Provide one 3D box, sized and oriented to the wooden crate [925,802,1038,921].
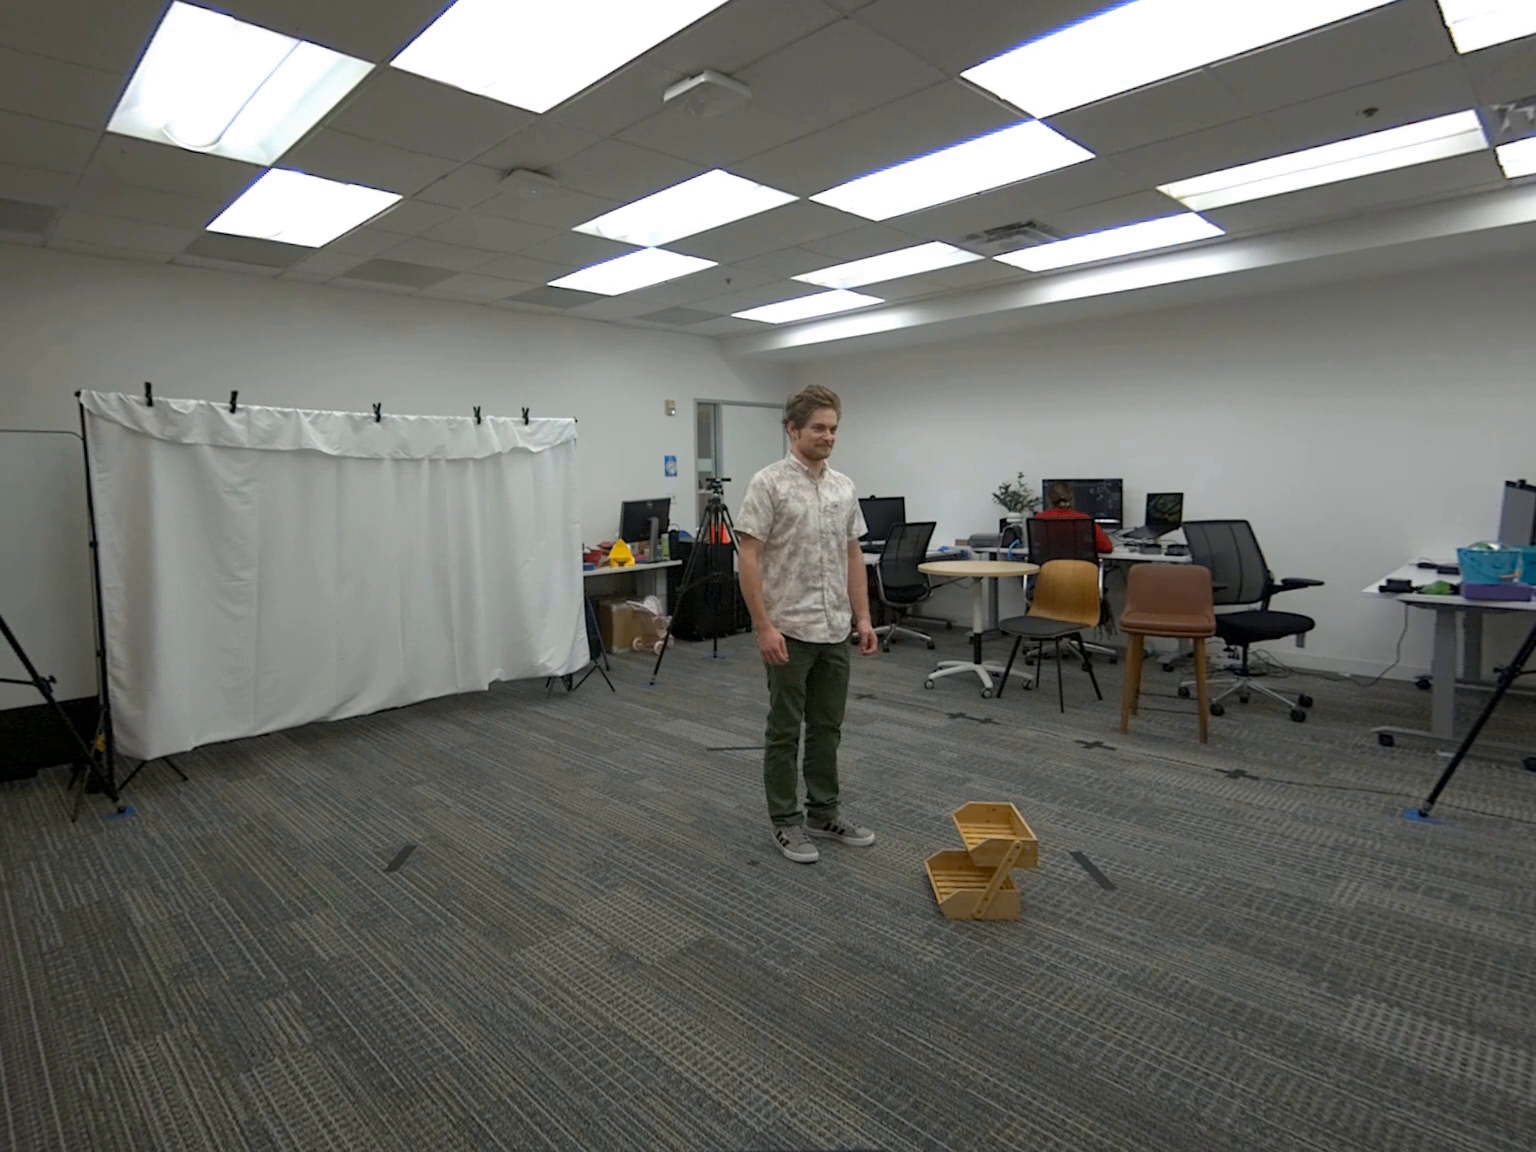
[{"bbox_3d":[0.696,0.929,2.818,0.303,0.272,0.325,0,5,2],"label":"wooden crate"}]
